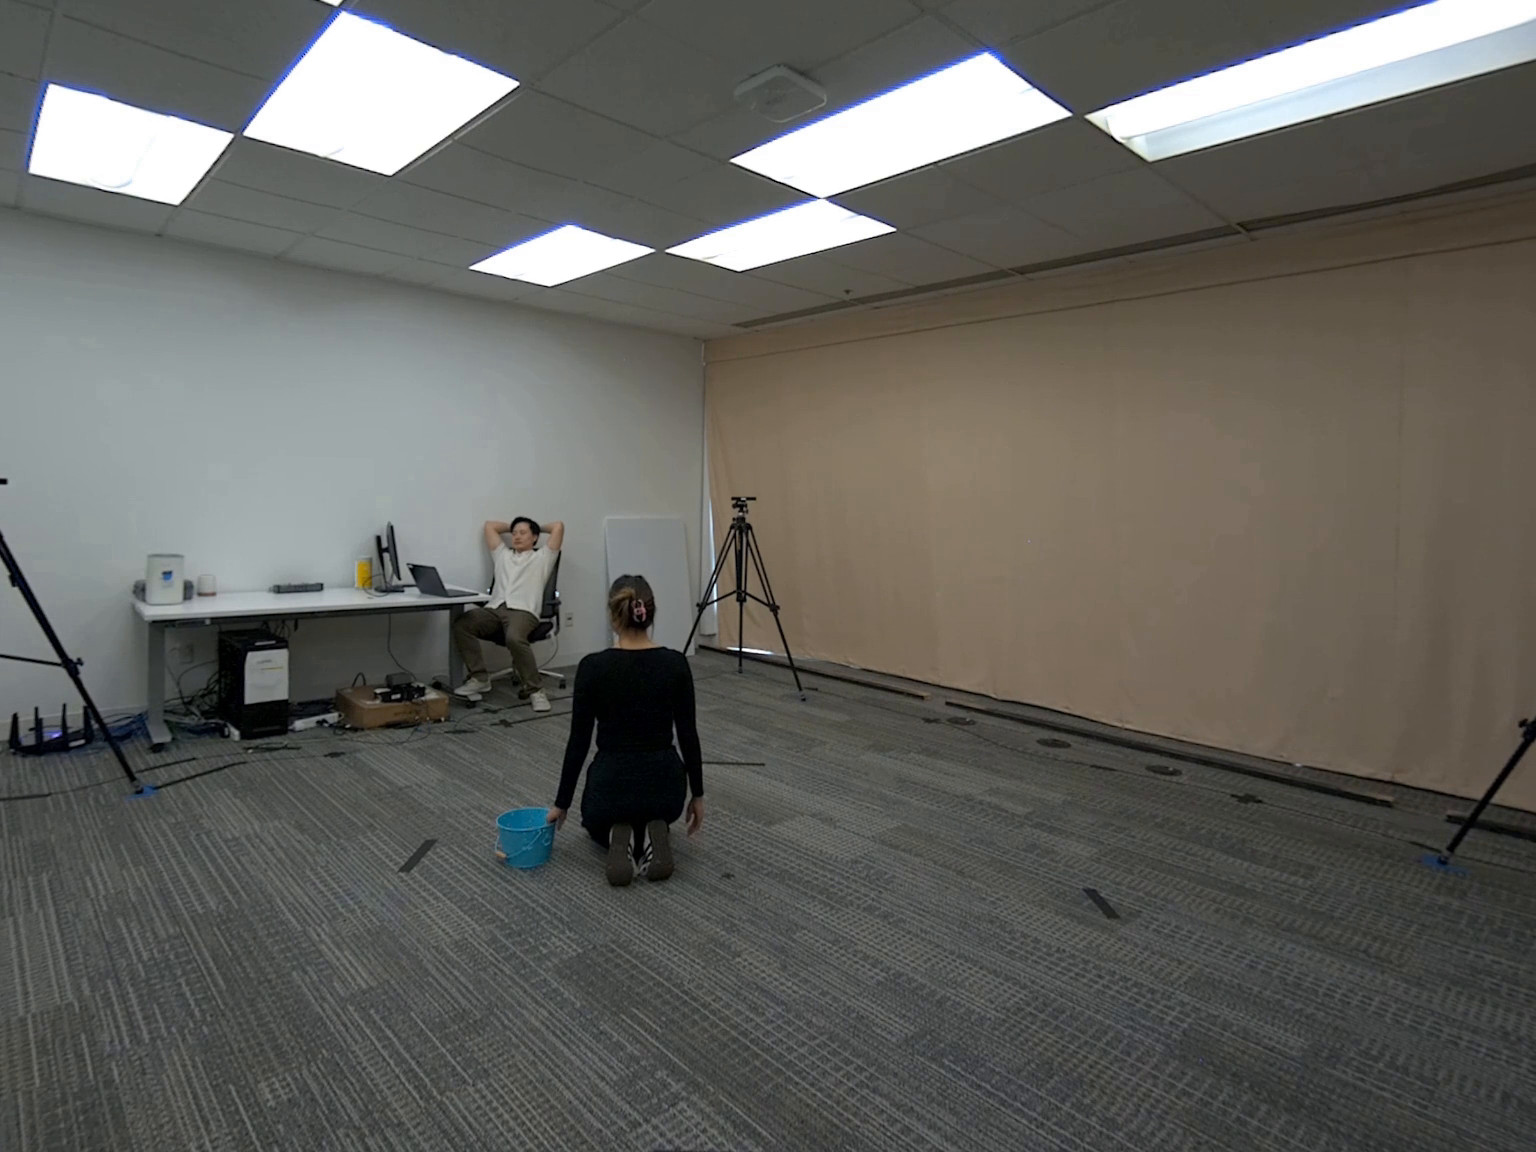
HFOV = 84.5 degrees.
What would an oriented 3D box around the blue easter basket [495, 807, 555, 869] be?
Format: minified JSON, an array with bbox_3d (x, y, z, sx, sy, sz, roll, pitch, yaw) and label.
[{"bbox_3d":[-0.929,0.995,3.225,0.243,0.155,0.244,1,3,-1],"label":"blue easter basket"}]
